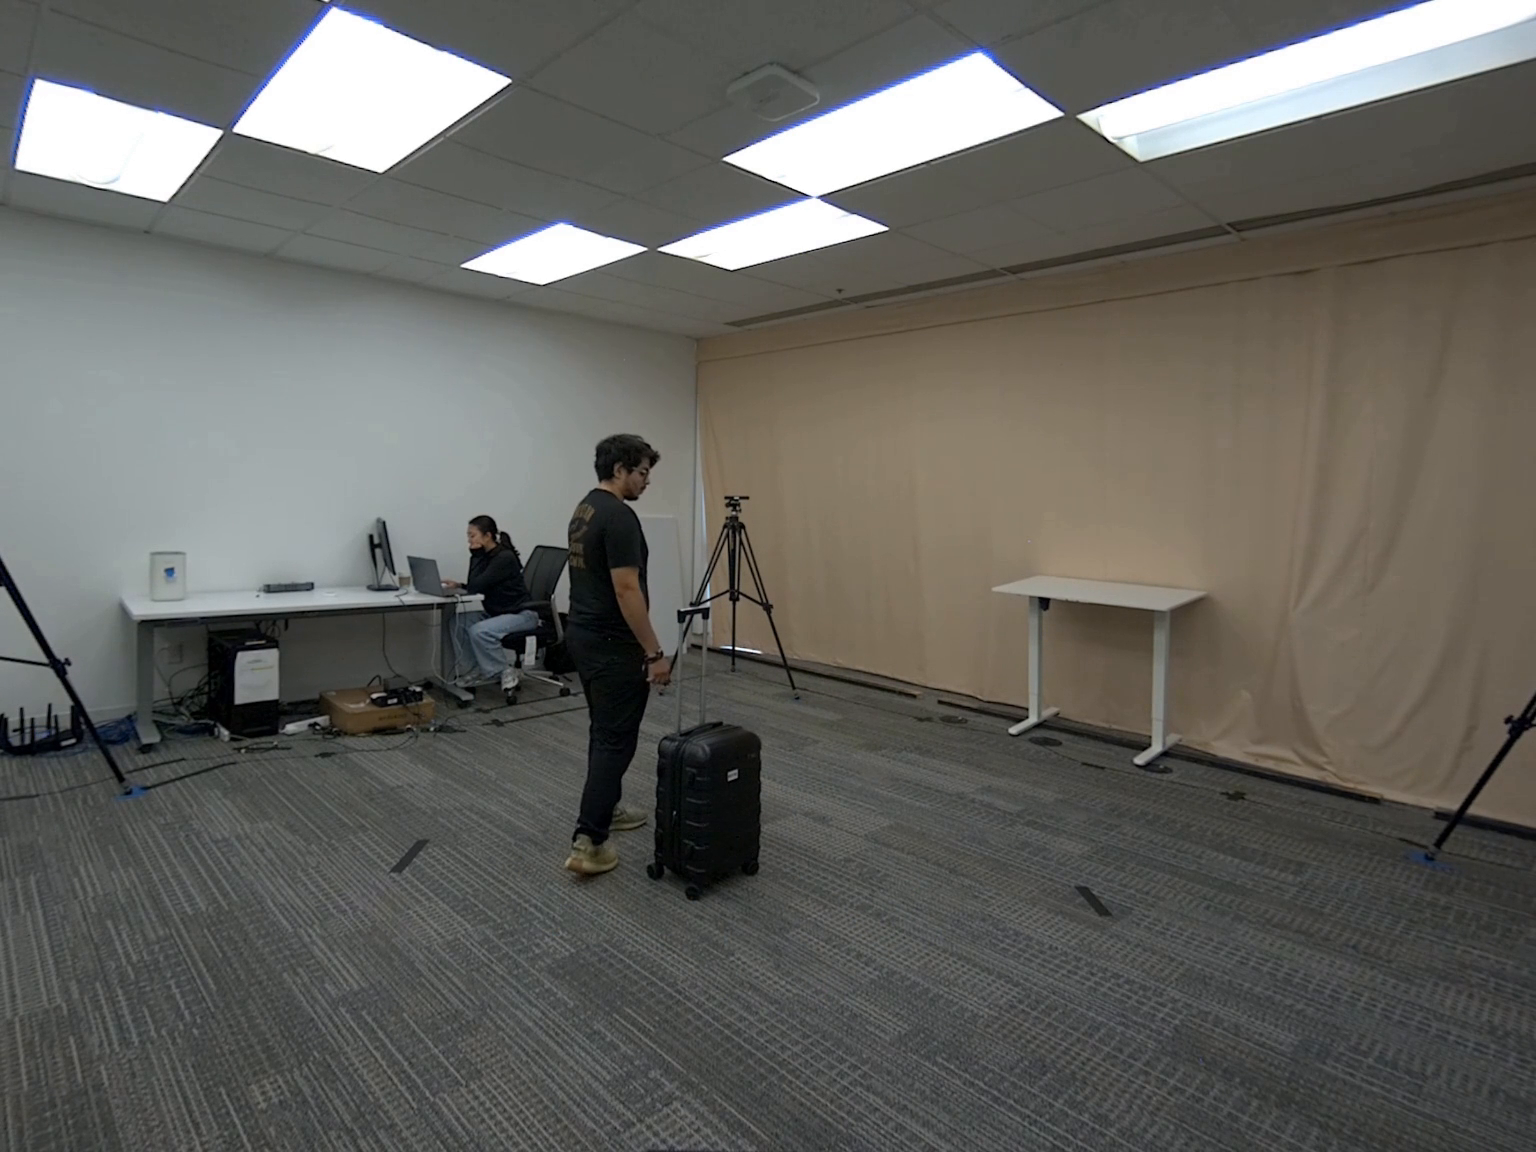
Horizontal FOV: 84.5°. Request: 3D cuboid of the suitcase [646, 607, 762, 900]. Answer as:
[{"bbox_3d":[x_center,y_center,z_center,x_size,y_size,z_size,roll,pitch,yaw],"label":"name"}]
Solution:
[{"bbox_3d":[-0.206,0.631,3.061,0.264,0.975,0.375,9,6,42],"label":"suitcase"}]
